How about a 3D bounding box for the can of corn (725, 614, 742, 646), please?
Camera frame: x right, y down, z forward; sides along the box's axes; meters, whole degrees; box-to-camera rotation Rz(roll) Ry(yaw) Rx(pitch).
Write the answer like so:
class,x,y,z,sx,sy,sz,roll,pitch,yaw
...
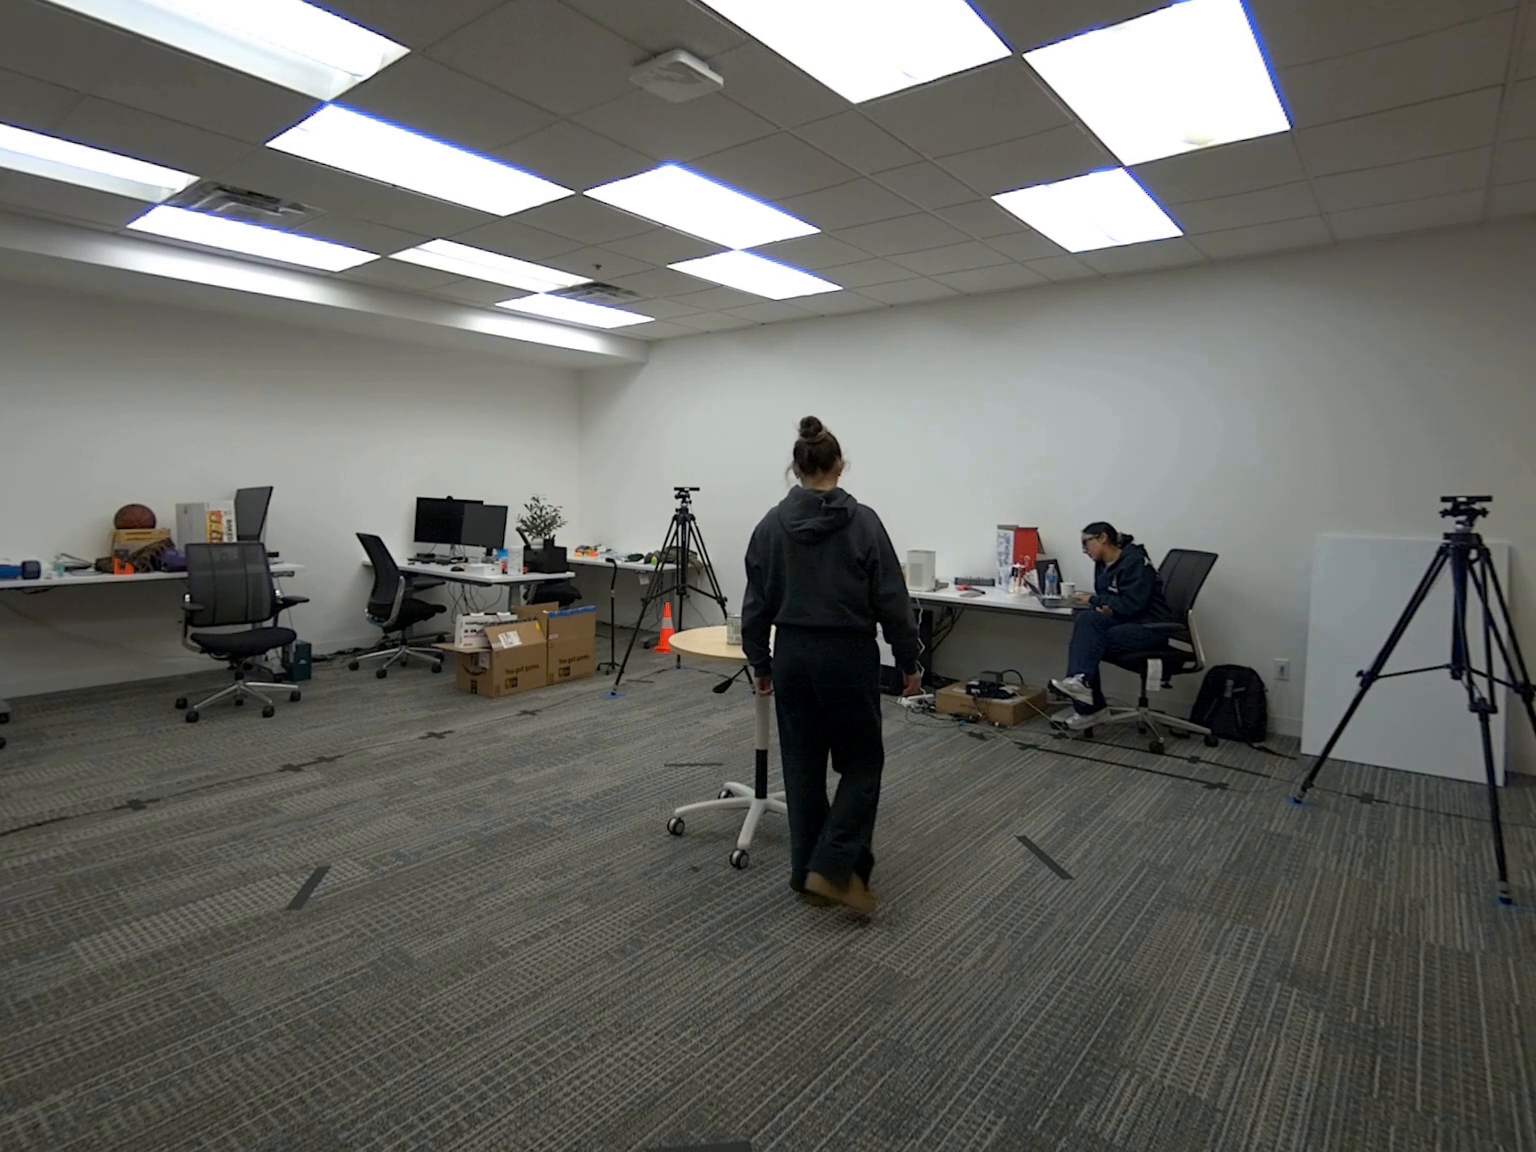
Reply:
class,x,y,z,sx,sy,sz,roll,pitch,yaw
can of corn,-0.130,0.207,3.335,0.074,0.111,0.074,0,3,-2
